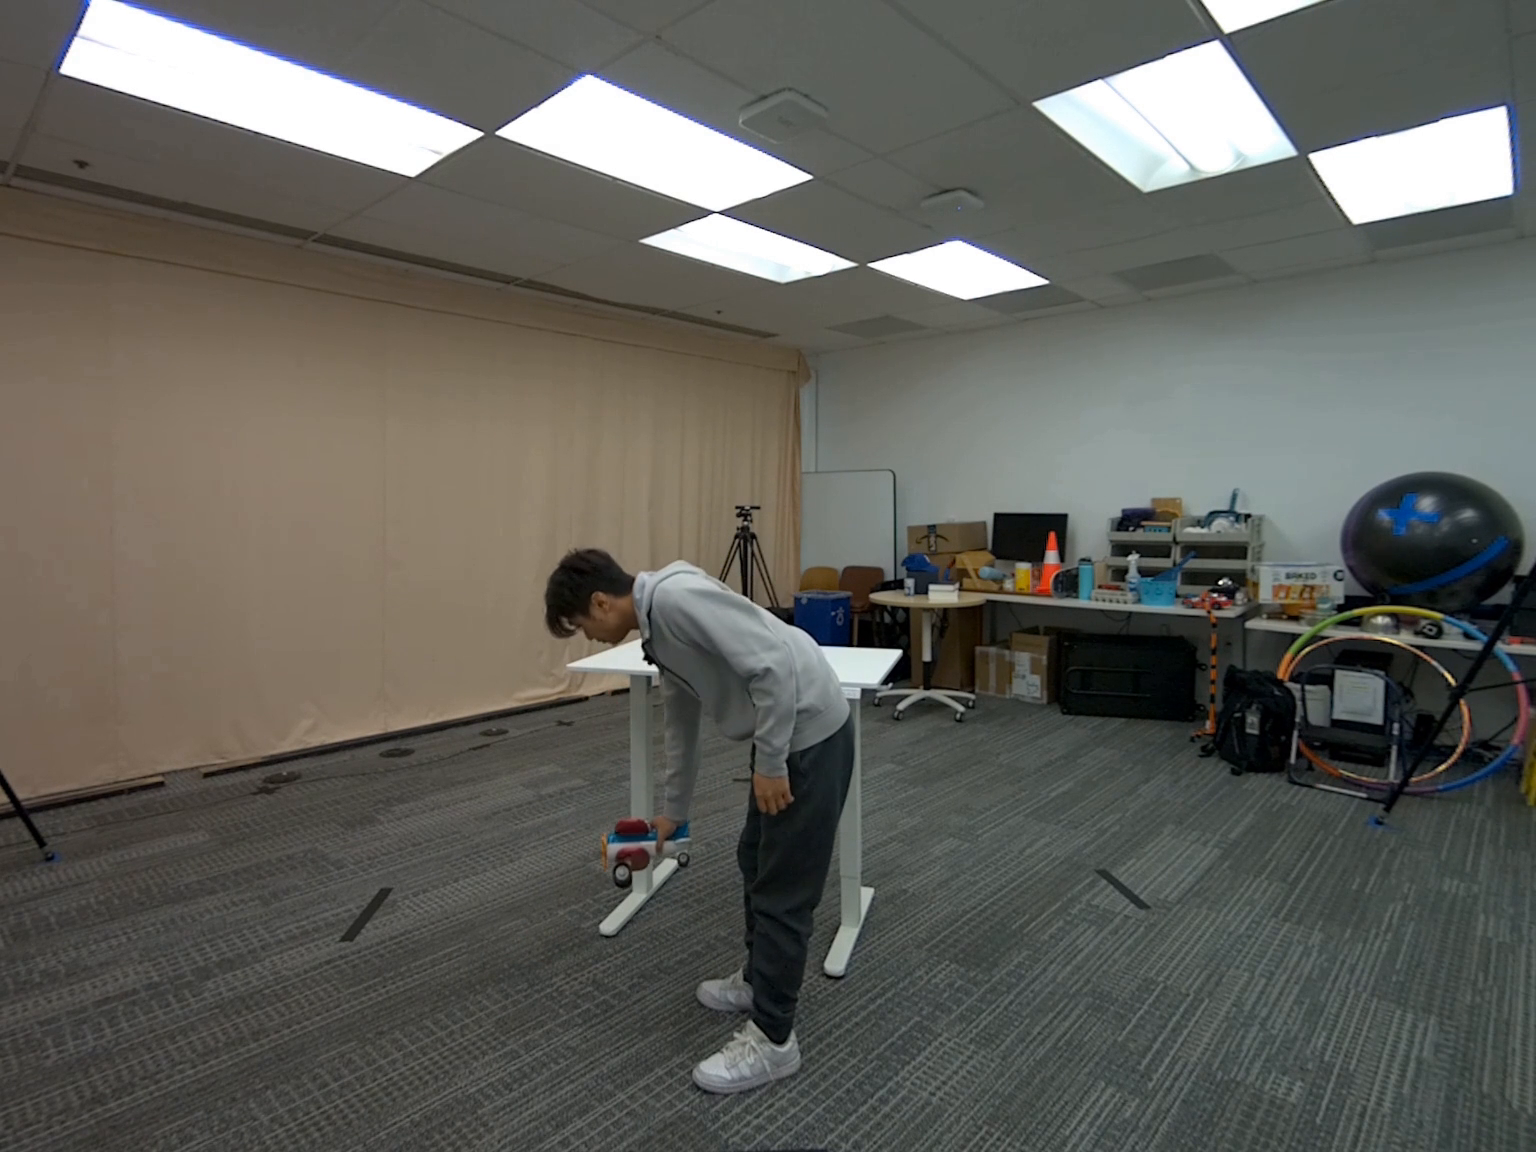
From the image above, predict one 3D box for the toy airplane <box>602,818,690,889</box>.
[{"bbox_3d":[-0.359,0.791,2.433,0.251,0.160,0.253,3,-36,-35],"label":"toy airplane"}]
